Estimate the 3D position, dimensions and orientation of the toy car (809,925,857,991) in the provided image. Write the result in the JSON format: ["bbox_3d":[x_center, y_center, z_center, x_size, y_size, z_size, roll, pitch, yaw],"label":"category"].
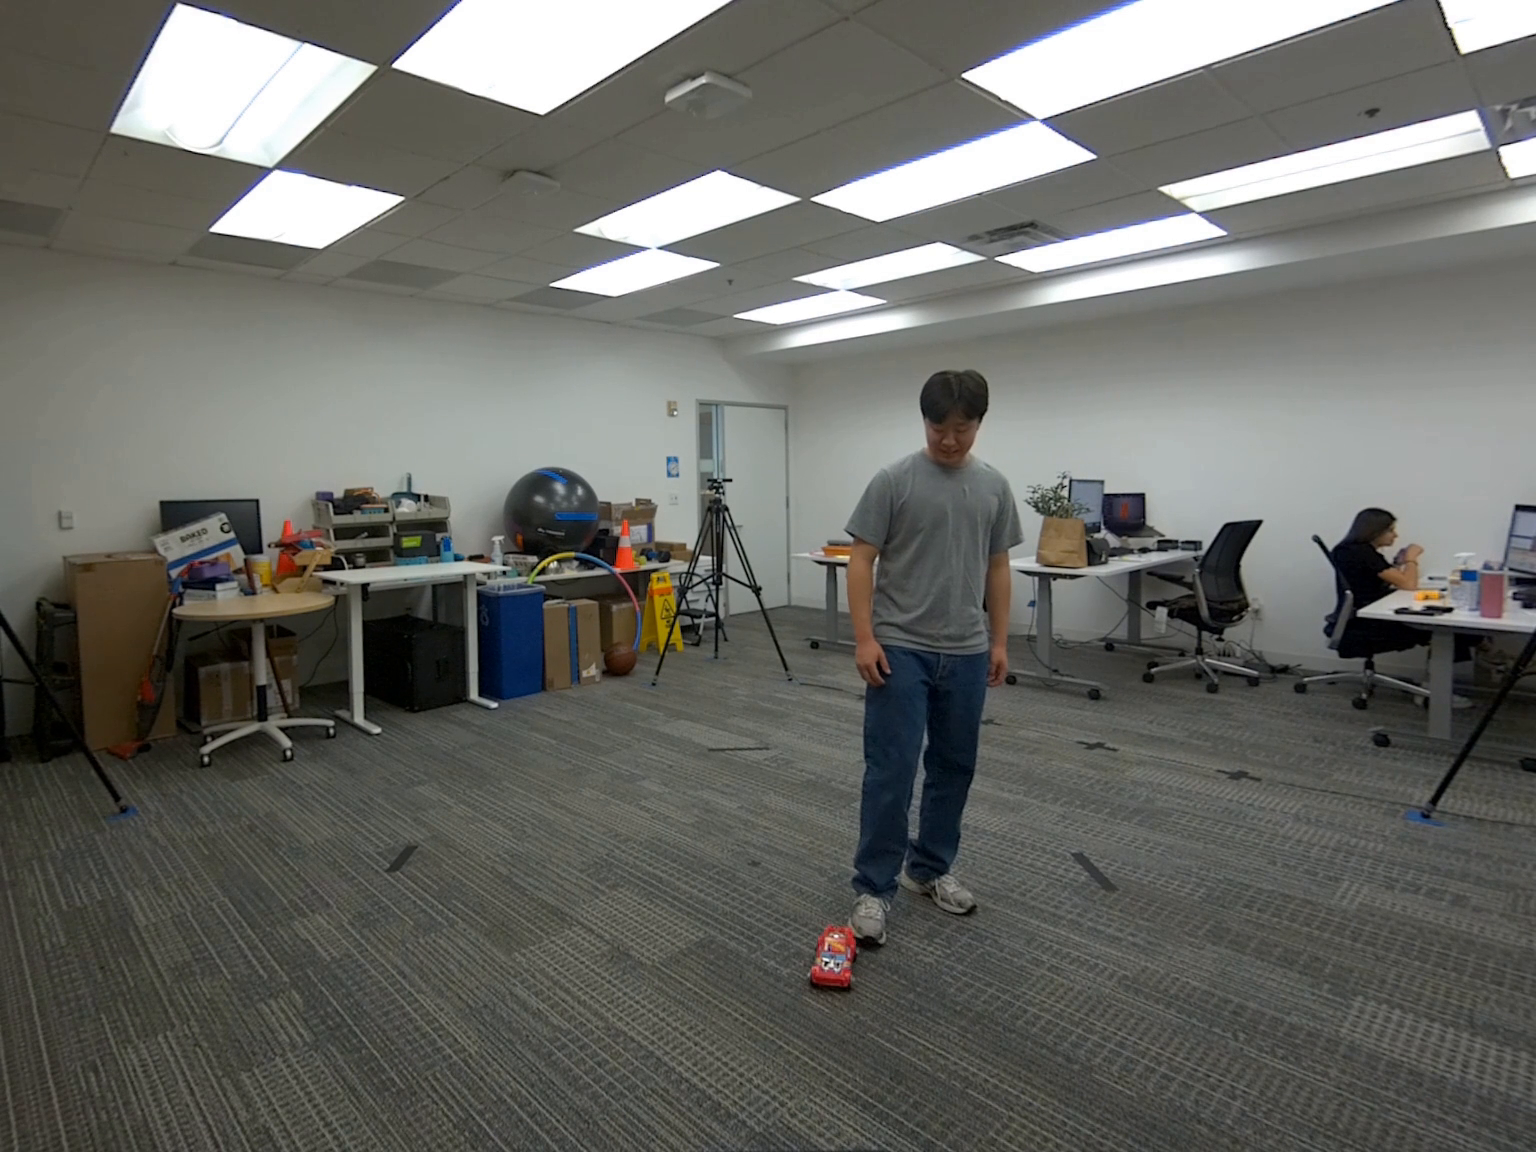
[{"bbox_3d":[0.209,1.087,2.439,0.132,0.082,0.255,-1,17,12],"label":"toy car"}]
